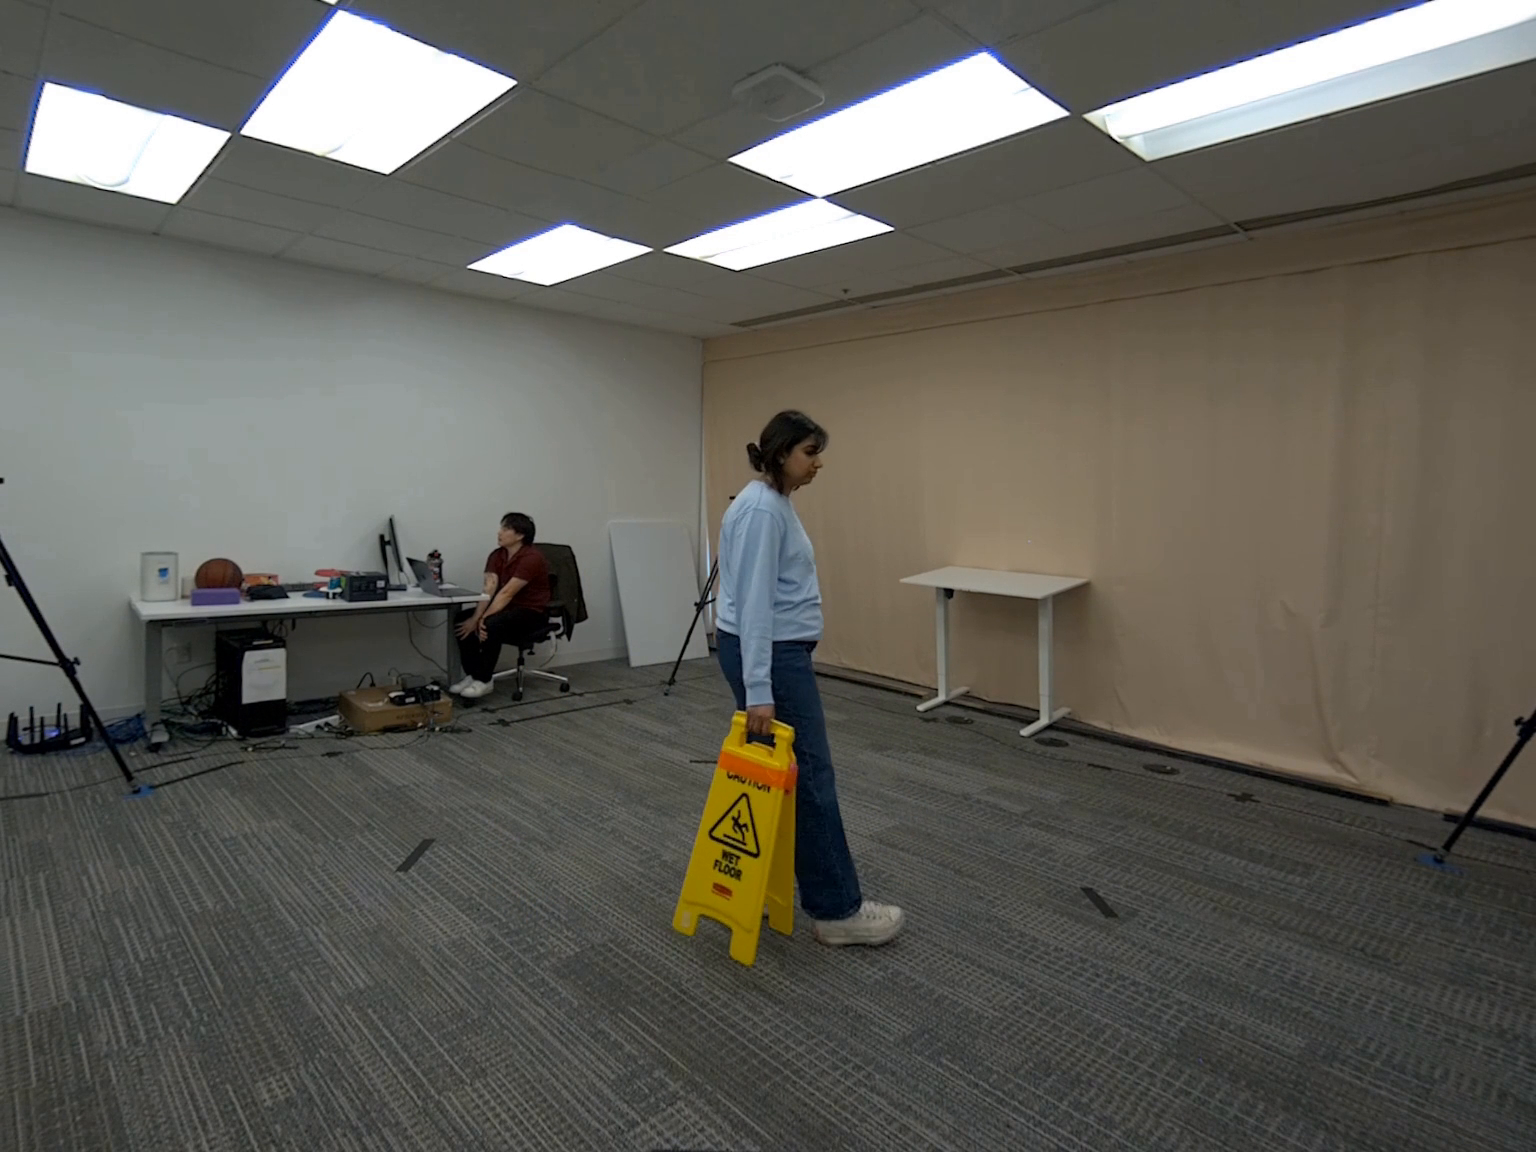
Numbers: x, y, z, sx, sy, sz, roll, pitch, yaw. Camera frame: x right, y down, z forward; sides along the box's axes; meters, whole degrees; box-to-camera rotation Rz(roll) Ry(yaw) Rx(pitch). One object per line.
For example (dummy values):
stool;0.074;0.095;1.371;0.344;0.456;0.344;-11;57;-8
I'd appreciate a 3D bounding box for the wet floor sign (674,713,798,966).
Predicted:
wet floor sign;-0.059;0.742;2.485;0.289;0.644;0.283;11;5;31
